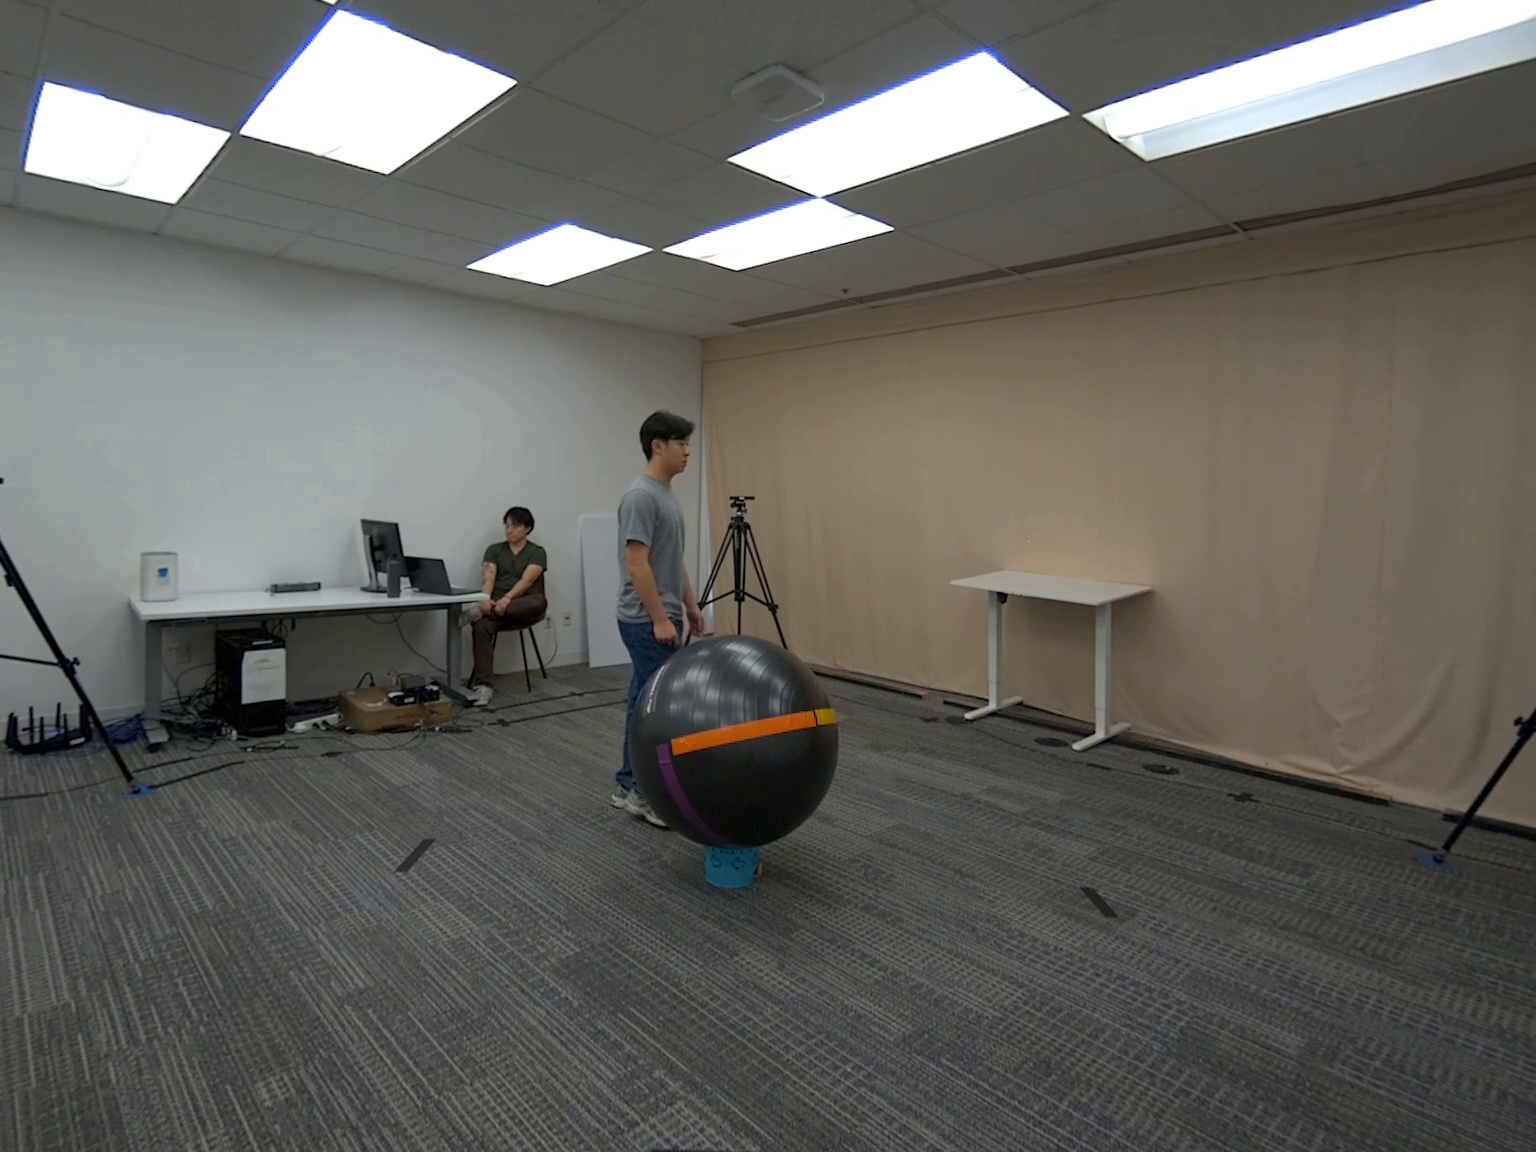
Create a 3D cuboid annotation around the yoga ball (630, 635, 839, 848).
[{"bbox_3d":[-0.129,0.598,3.062,0.757,0.756,0.761,1,4,-1],"label":"yoga ball"}]
